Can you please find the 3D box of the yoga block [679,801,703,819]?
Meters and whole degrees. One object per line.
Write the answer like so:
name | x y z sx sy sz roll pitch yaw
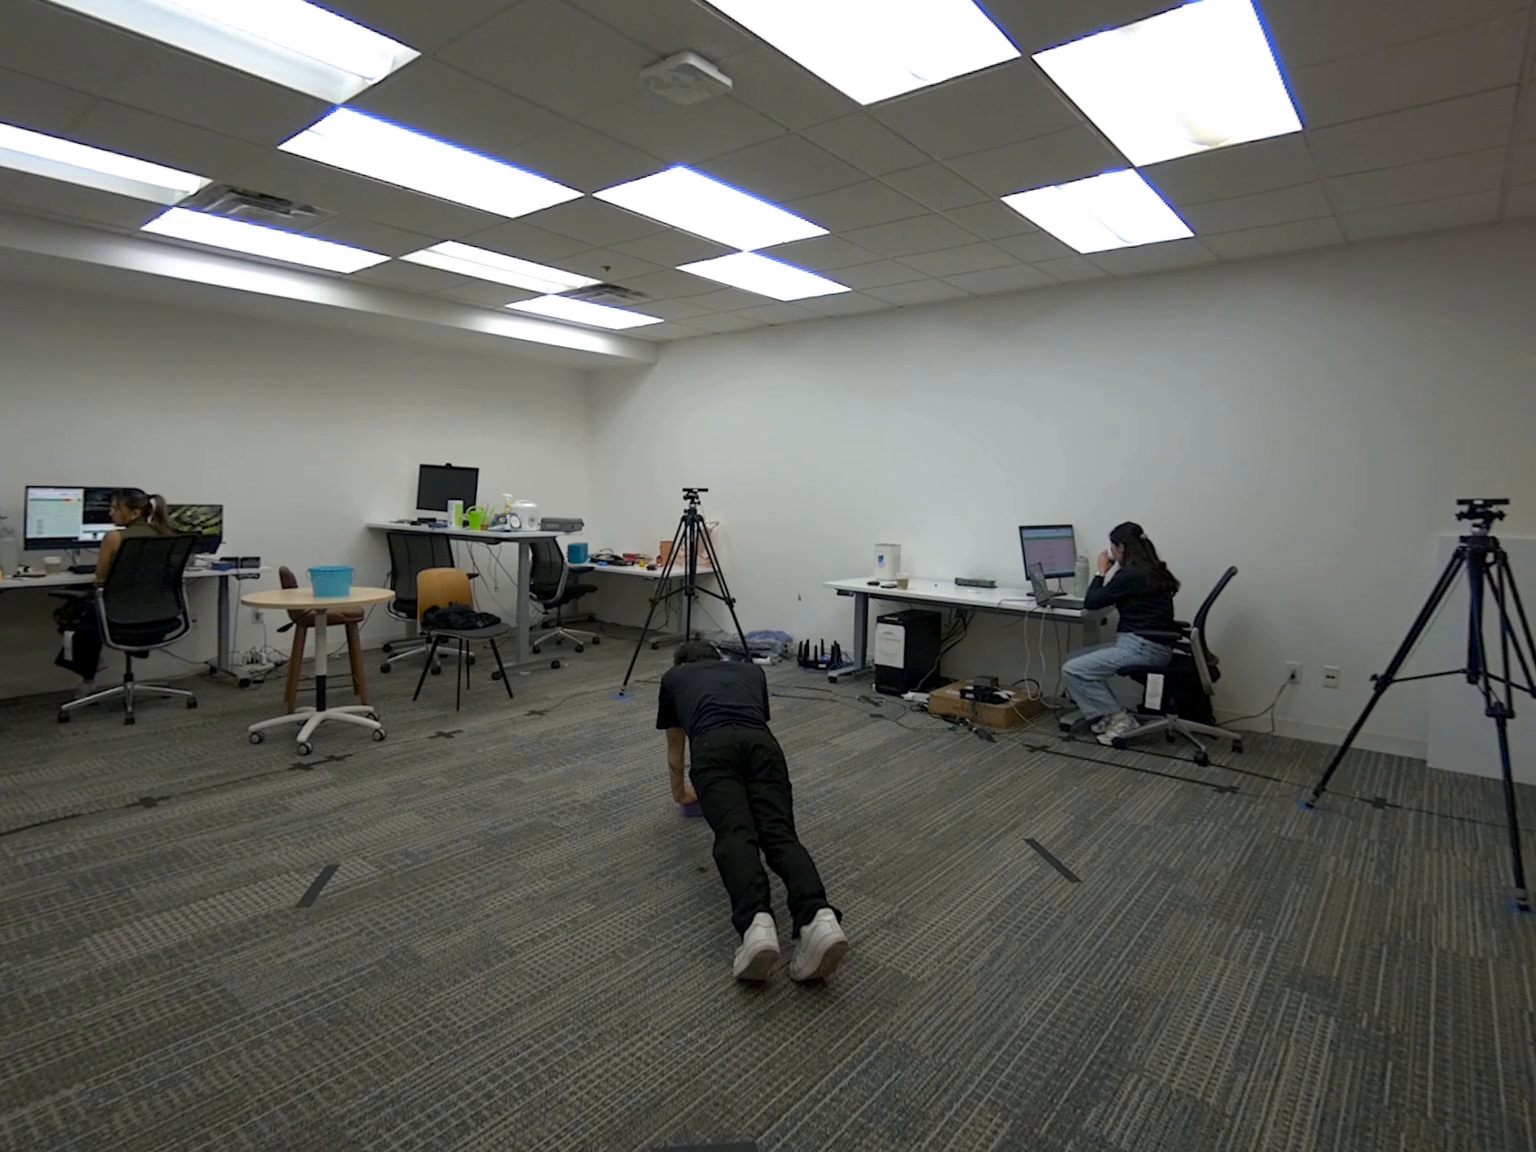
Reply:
yoga block | -0.271 0.970 3.685 0.226 0.076 0.152 -2 6 -13
